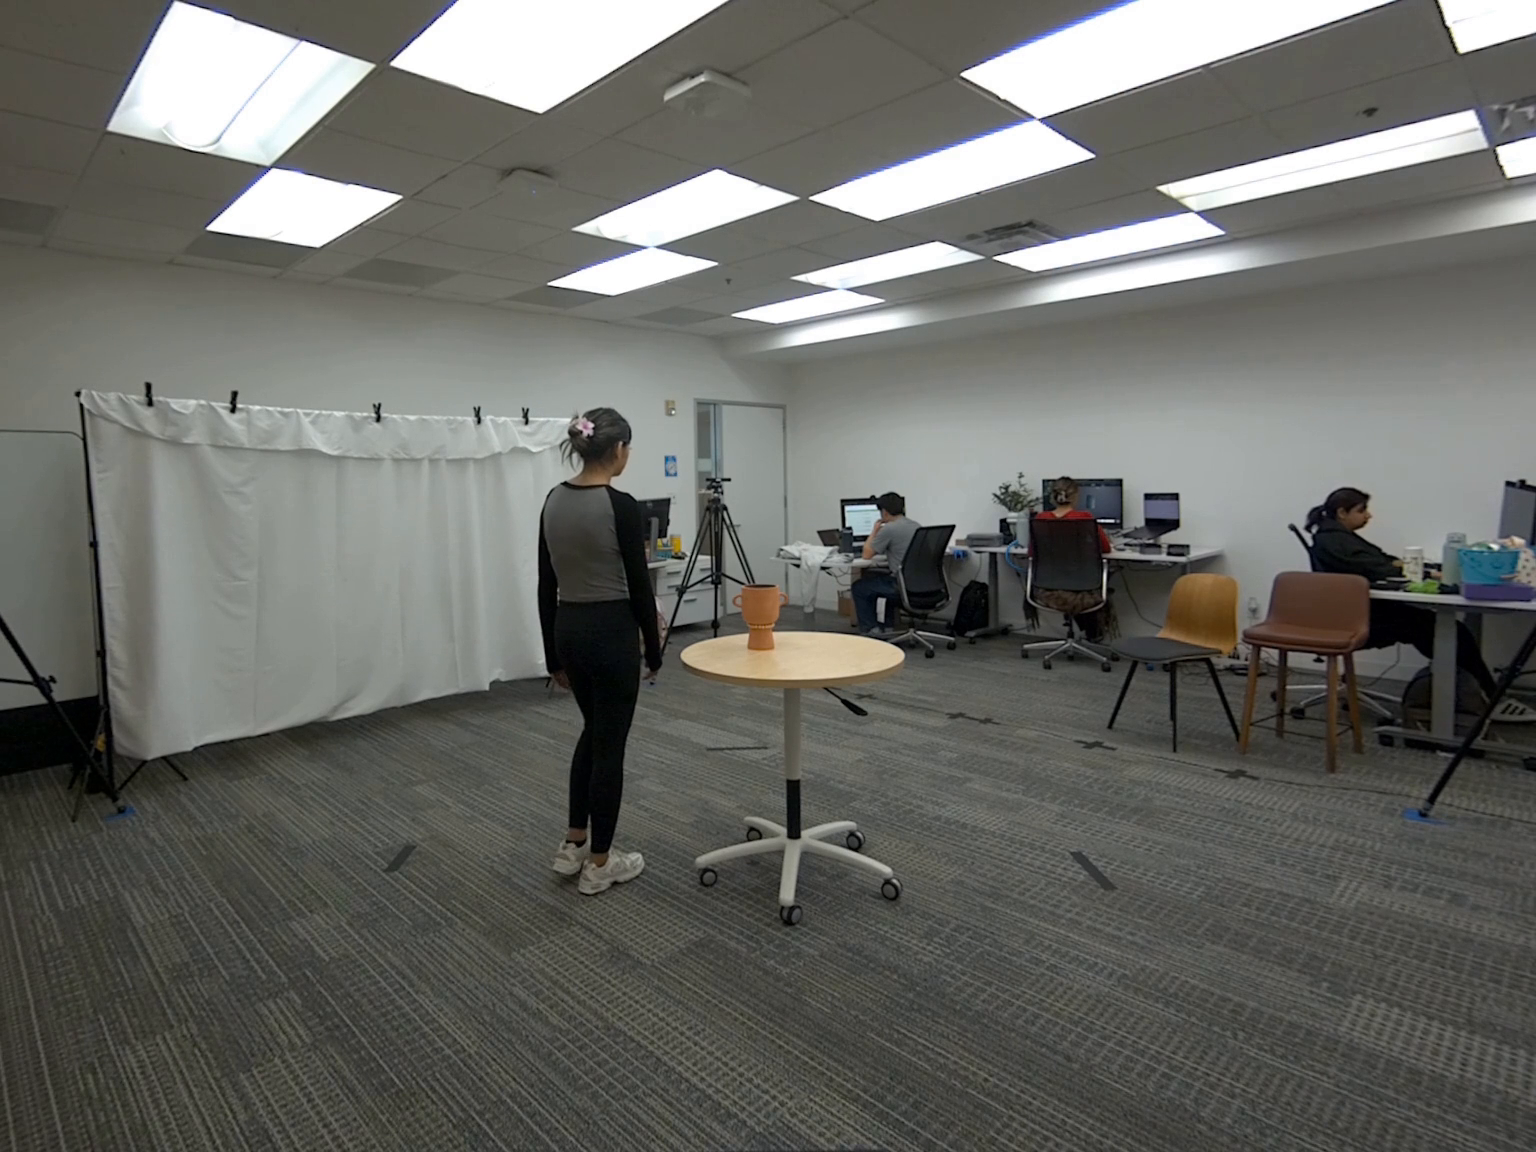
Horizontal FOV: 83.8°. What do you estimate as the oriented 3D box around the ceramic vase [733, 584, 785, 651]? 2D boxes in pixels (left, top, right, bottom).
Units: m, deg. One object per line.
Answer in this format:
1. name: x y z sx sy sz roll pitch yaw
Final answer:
1. ceramic vase: -0.026 0.144 3.037 0.163 0.219 0.131 2 4 29
